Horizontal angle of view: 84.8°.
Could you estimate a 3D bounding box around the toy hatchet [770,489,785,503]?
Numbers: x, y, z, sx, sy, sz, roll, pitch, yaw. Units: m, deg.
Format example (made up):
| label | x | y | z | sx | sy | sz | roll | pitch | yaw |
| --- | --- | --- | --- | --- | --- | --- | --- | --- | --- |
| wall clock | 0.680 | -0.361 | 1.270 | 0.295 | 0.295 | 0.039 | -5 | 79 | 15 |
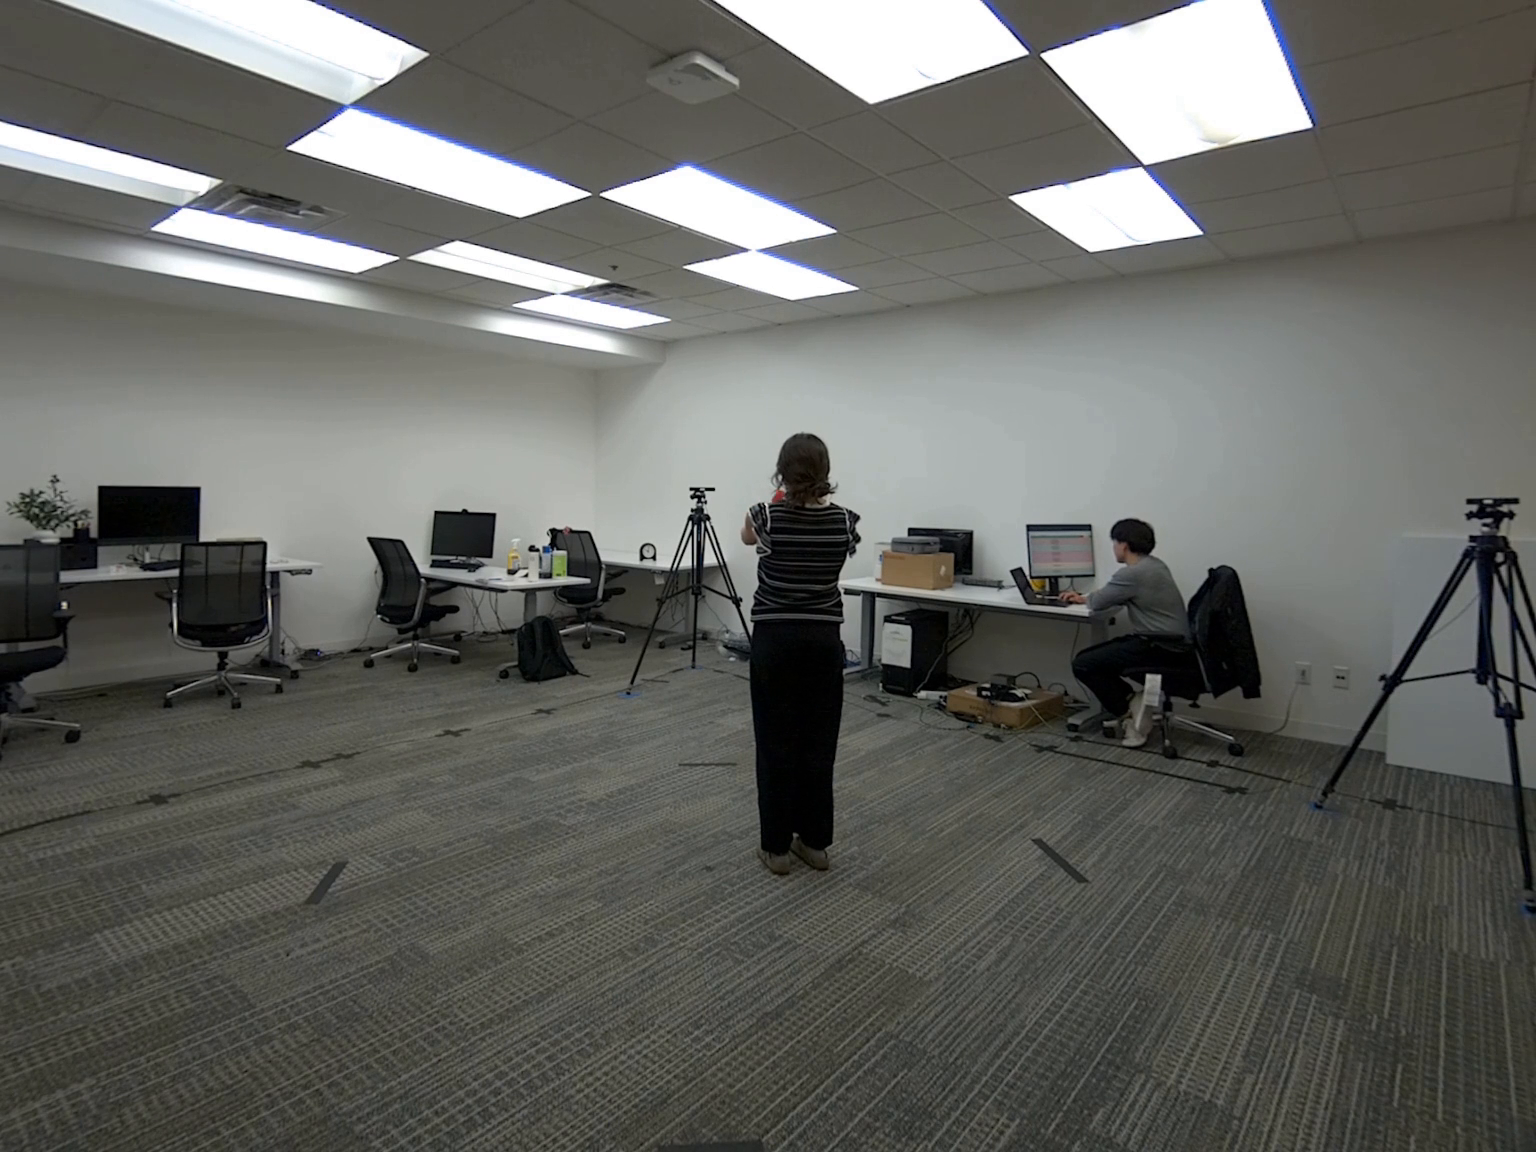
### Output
| label | x | y | z | sx | sy | sz | roll | pitch | yaw |
| --- | --- | --- | --- | --- | --- | --- | --- | --- | --- |
| toy hatchet | -0.027 | -0.281 | 3.640 | 0.269 | 0.031 | 0.126 | -33 | -33 | -12 |
